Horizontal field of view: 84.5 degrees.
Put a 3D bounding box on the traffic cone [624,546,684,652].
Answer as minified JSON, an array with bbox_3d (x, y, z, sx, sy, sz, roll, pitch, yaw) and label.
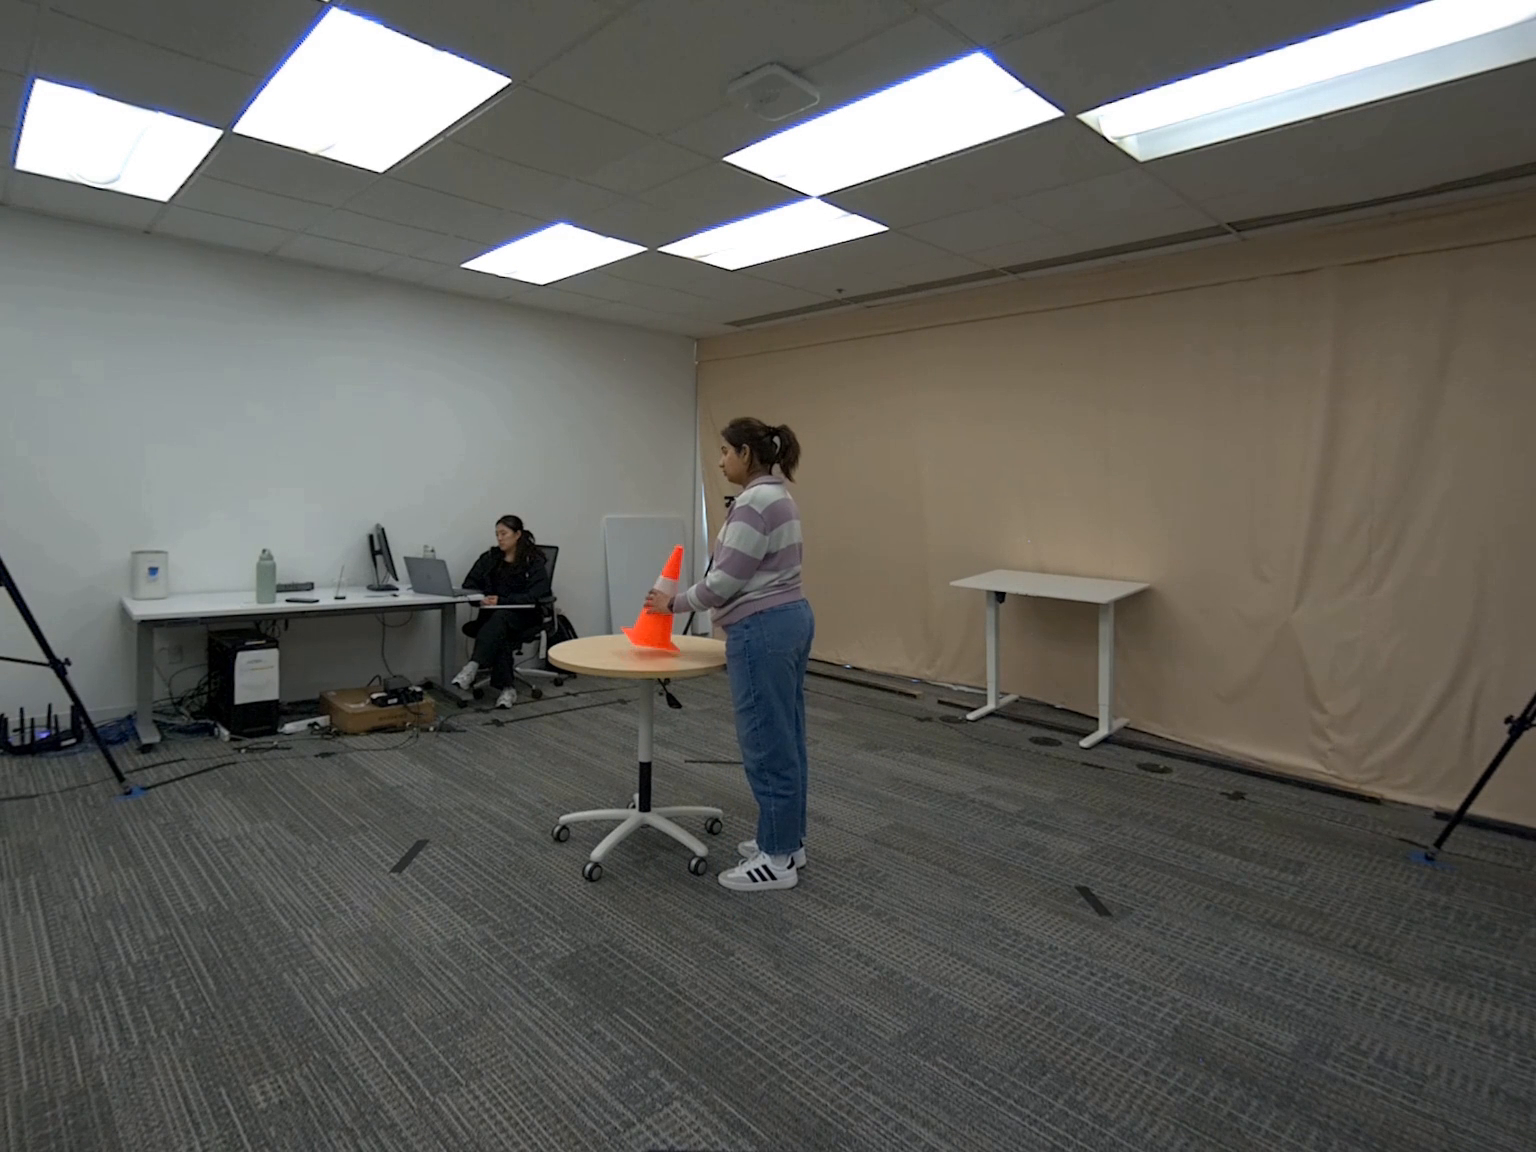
[{"bbox_3d":[-0.392,0.067,3.215,0.199,0.382,0.209,12,10,-37],"label":"traffic cone"}]
